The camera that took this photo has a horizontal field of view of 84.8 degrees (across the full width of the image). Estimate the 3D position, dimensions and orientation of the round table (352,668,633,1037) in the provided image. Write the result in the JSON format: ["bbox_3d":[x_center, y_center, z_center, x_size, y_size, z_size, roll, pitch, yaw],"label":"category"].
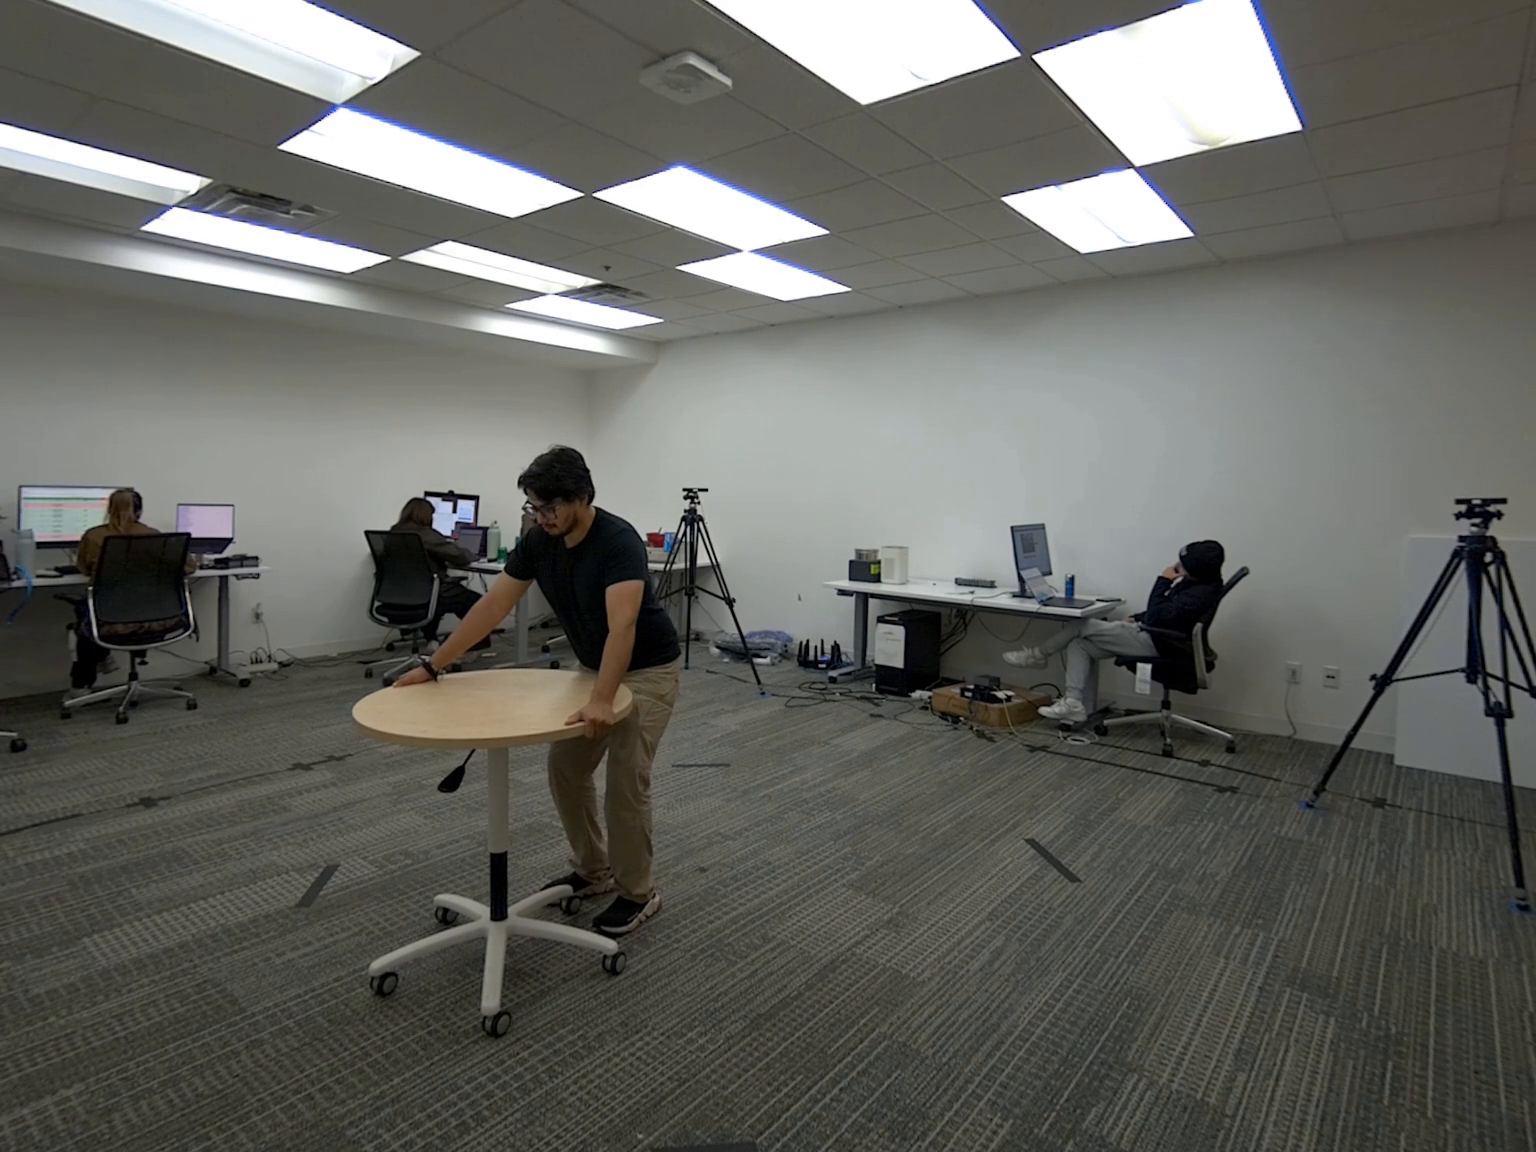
[{"bbox_3d":[-0.770,0.730,2.435,0.784,0.783,0.789,1,5,-2],"label":"round table"}]
